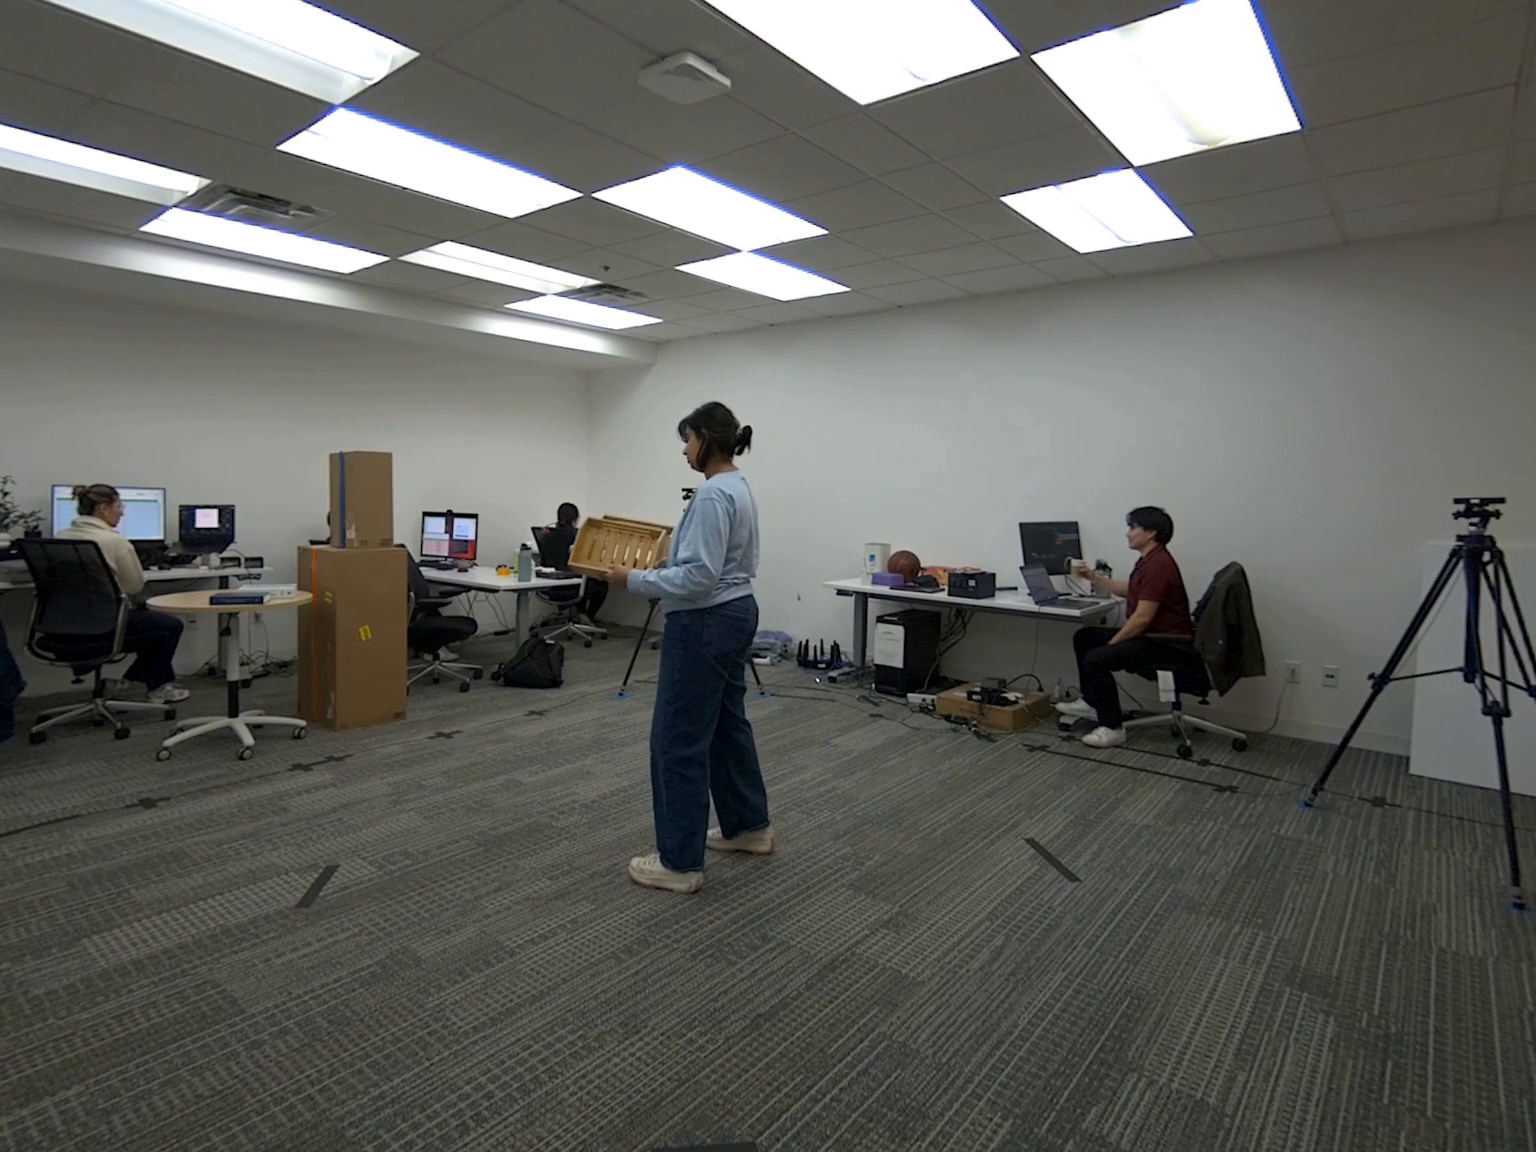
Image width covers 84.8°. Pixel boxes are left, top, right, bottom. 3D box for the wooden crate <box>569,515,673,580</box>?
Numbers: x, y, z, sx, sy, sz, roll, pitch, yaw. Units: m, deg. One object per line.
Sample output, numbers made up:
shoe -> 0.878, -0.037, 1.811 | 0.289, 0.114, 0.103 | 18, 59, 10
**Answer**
wooden crate -> -0.536, -0.113, 3.147 | 0.328, 0.306, 0.267 | 10, -21, 7
